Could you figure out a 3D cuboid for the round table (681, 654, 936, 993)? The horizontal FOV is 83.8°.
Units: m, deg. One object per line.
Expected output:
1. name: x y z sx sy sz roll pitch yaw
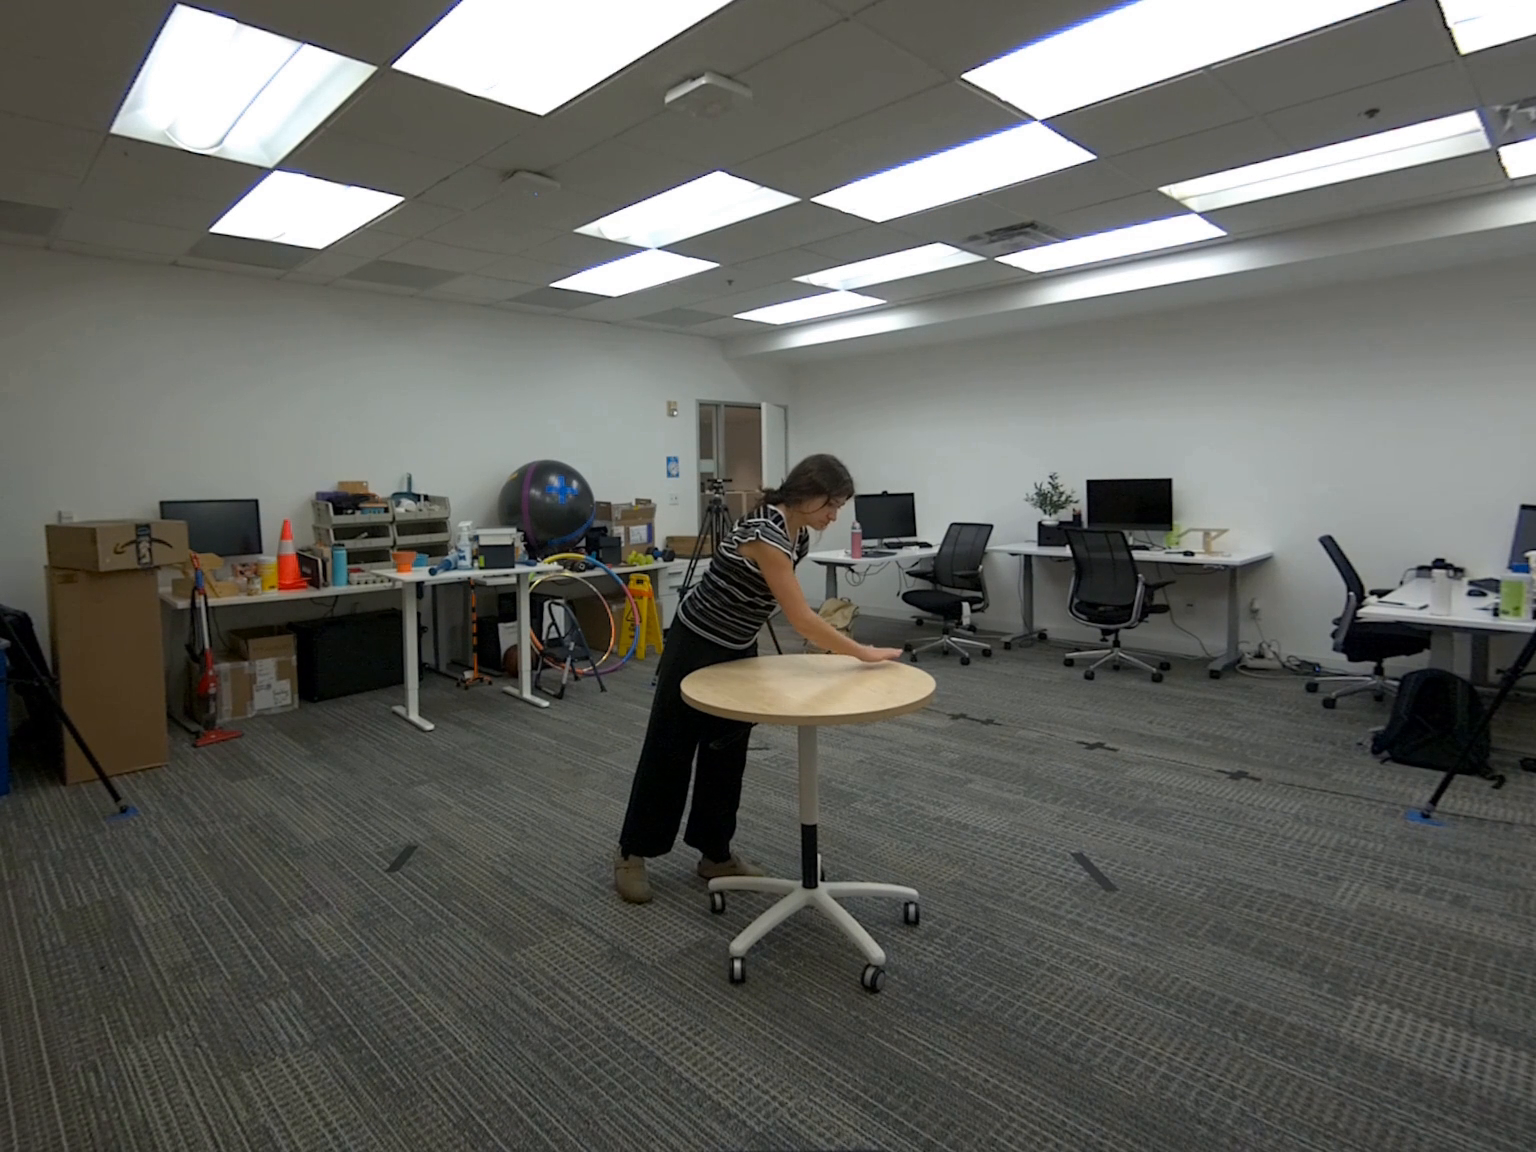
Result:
1. round table: 0.137 0.710 2.614 0.763 0.791 0.768 -2 5 -2
